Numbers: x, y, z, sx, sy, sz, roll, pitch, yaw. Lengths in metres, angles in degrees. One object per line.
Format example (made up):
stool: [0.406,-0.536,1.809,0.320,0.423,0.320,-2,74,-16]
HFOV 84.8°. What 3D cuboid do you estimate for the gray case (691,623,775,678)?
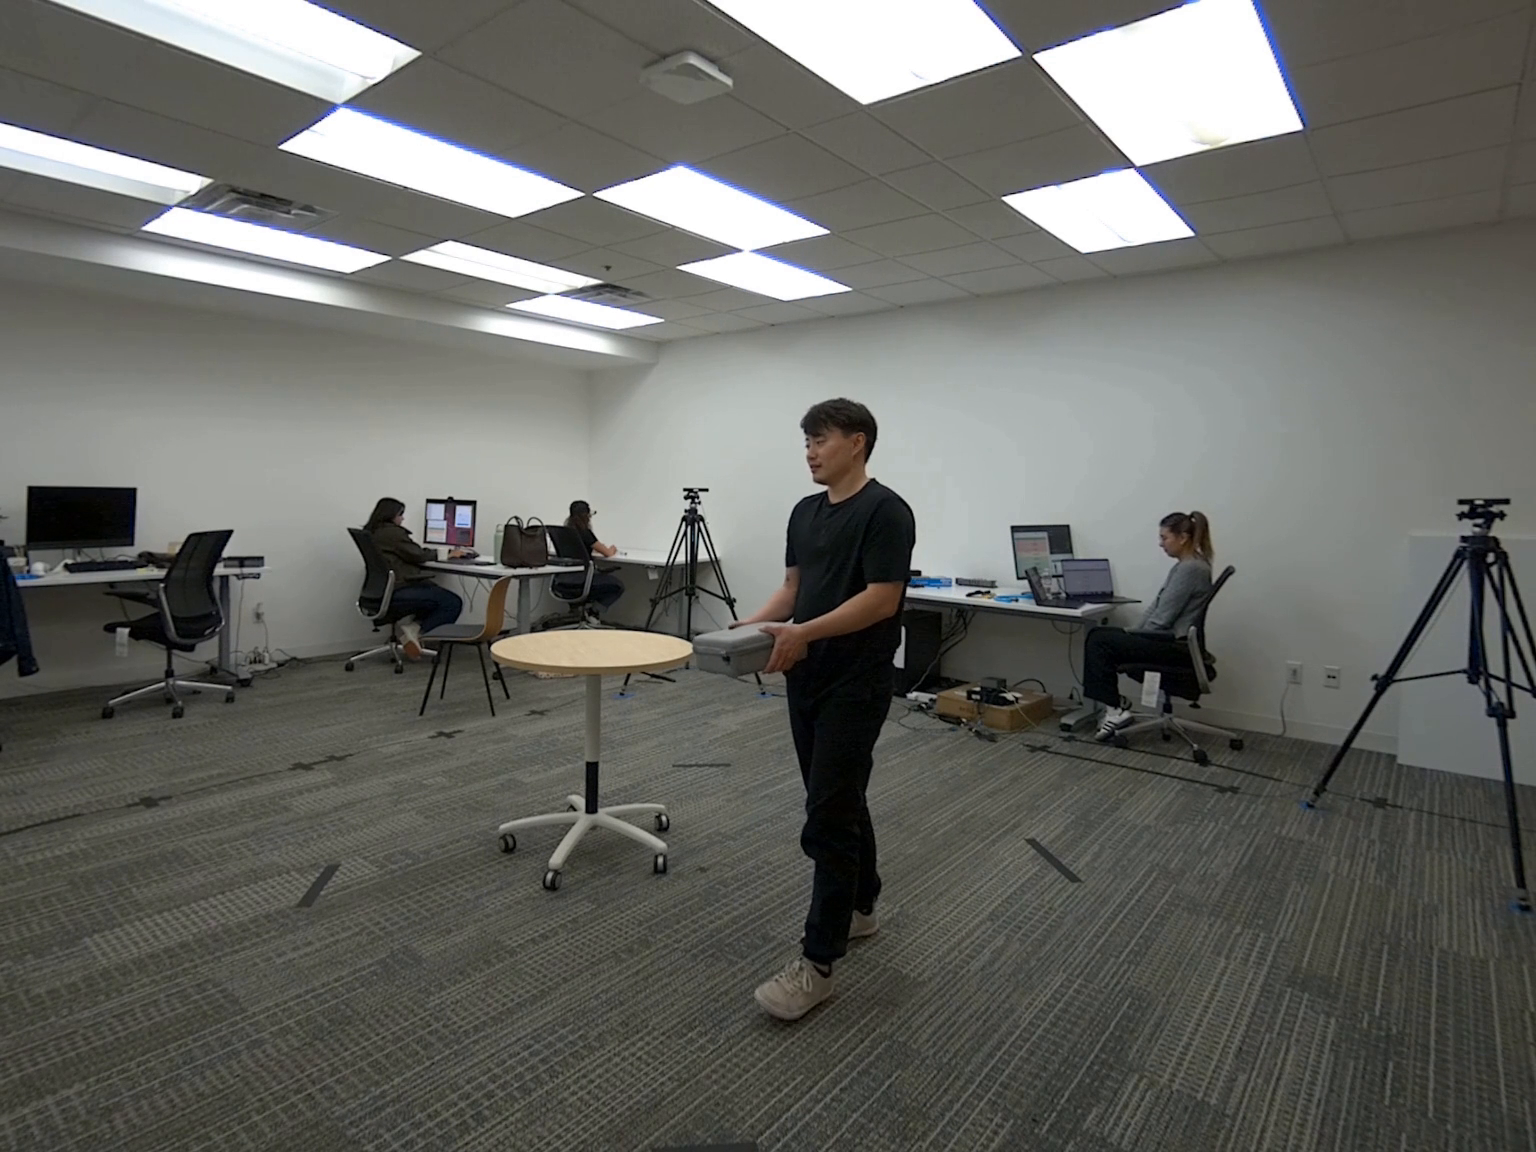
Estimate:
gray case: [-0.067,0.198,2.421,0.254,0.104,0.263,-9,2,-31]
